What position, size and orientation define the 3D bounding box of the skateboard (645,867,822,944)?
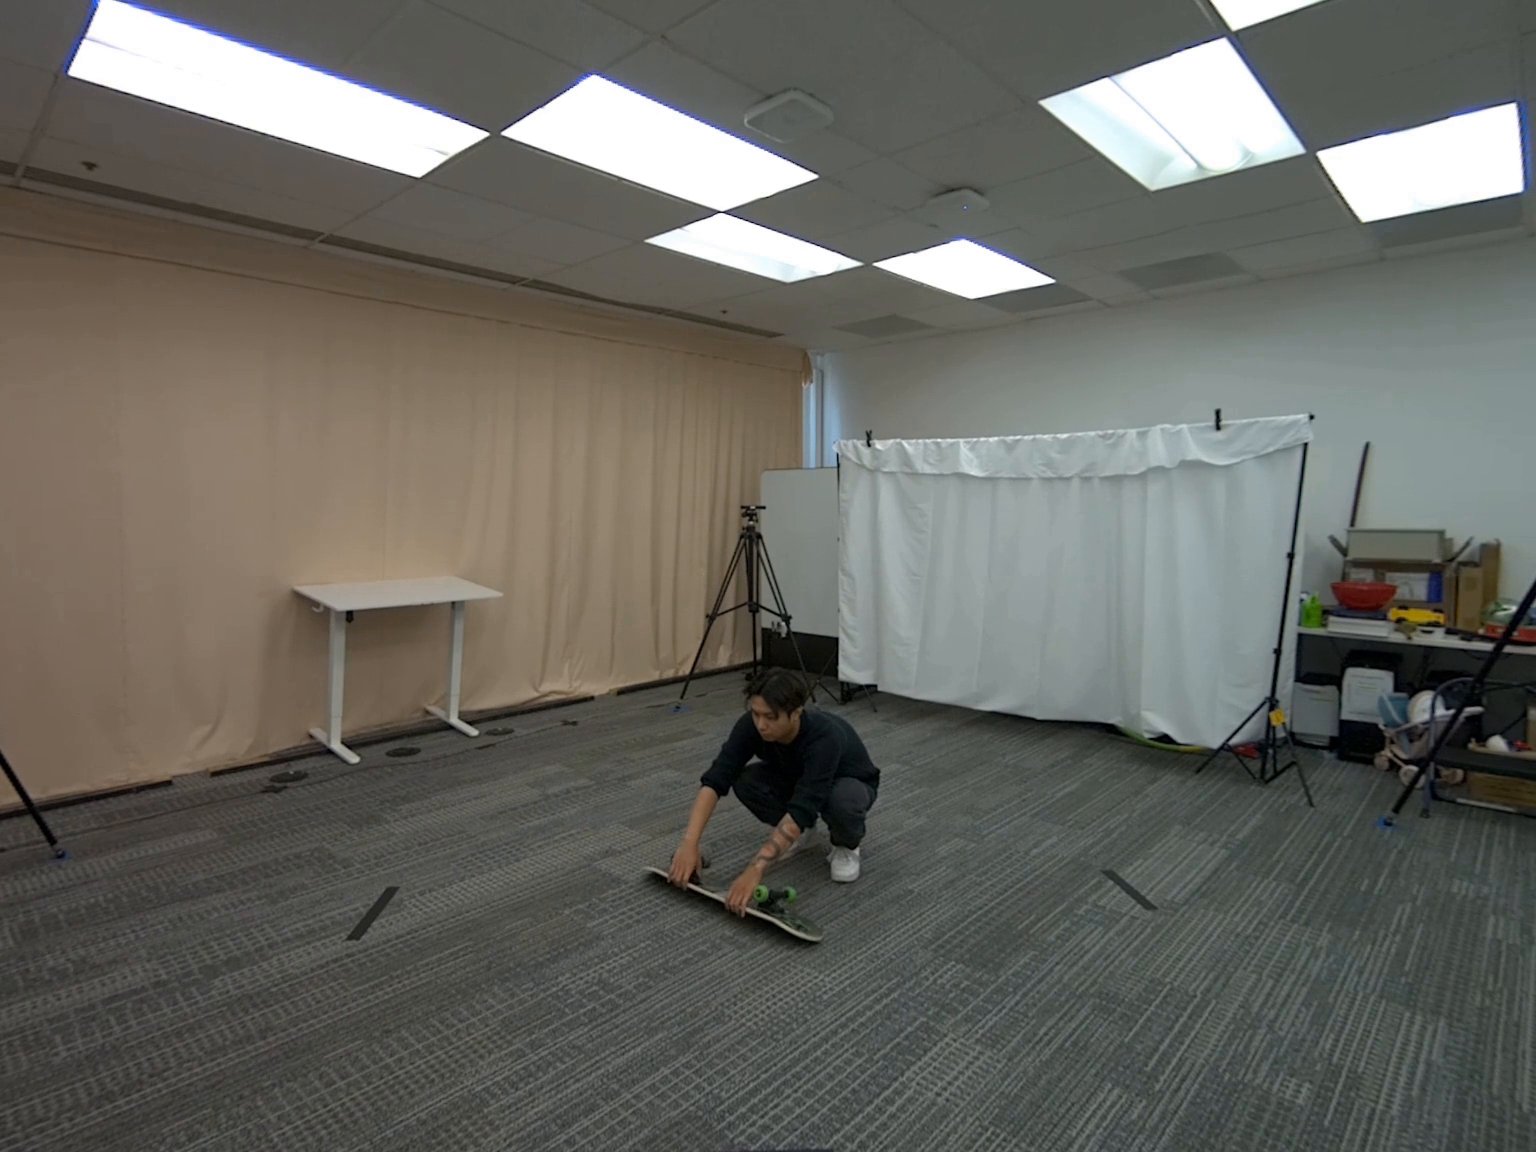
[{"bbox_3d":[-0.137,1.082,2.933,0.812,0.111,0.186,4,-13,43],"label":"skateboard"}]
